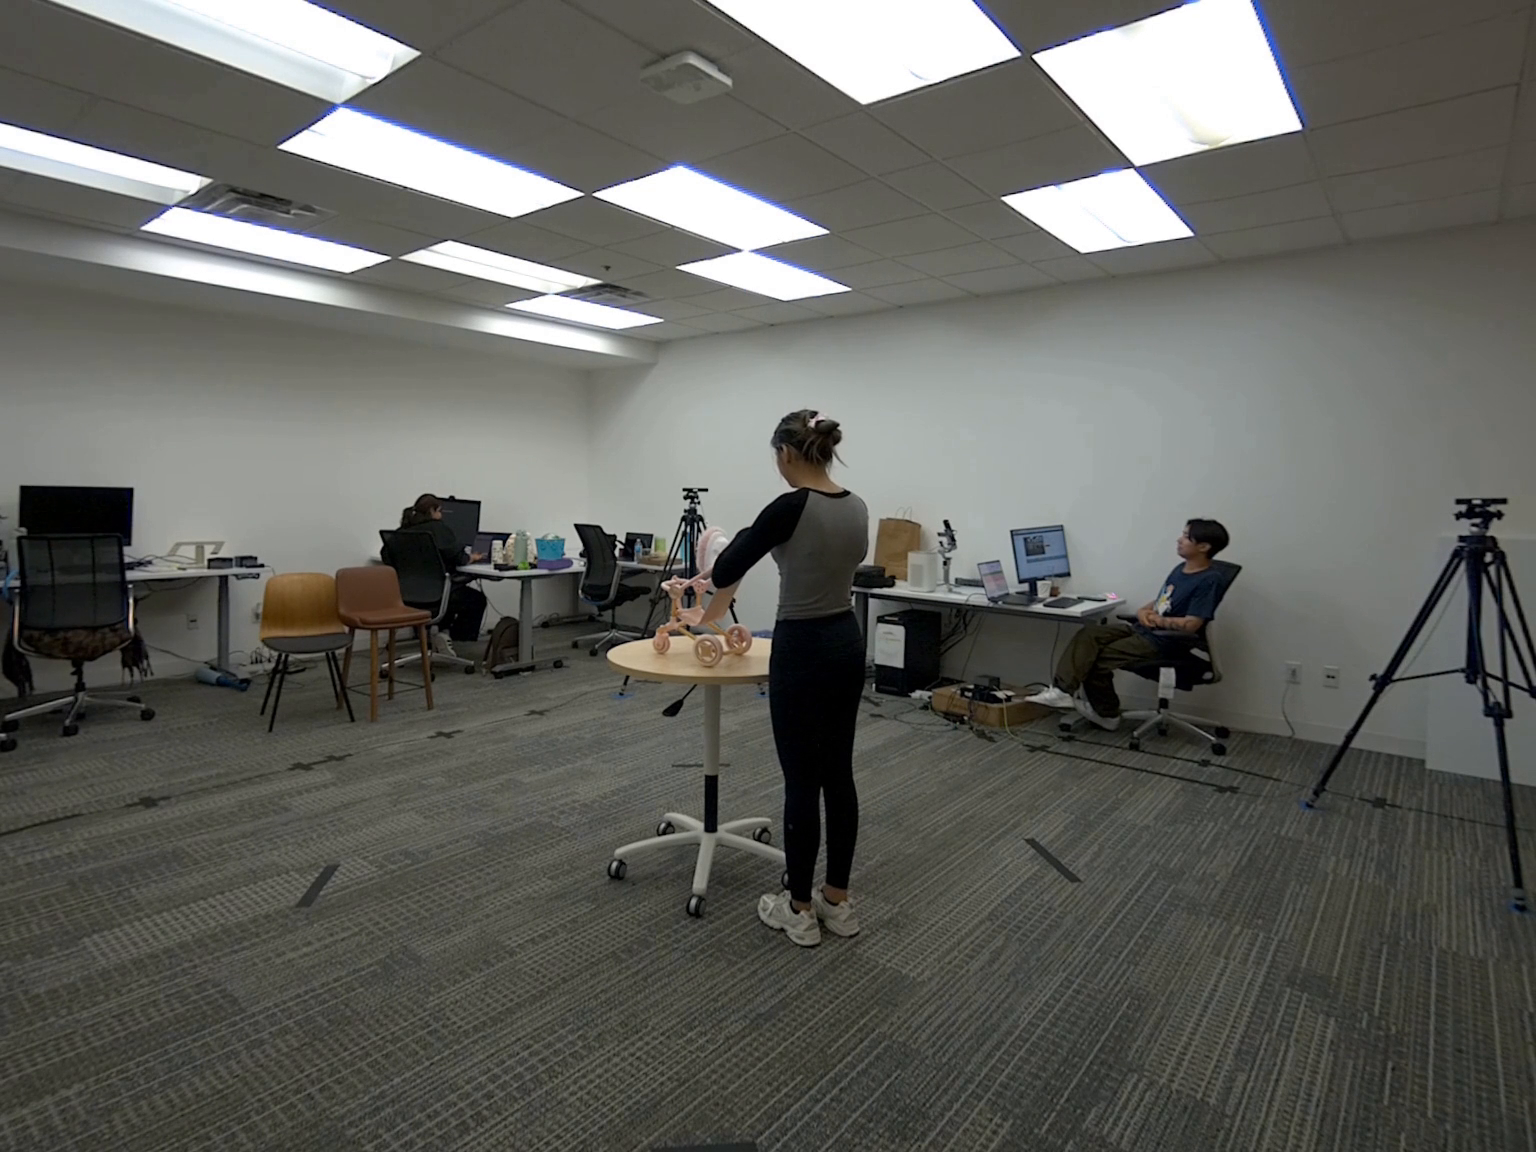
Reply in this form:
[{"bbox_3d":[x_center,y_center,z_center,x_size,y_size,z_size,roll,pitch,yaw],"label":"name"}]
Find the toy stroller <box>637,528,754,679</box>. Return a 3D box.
[{"bbox_3d":[-0.216,0.063,2.977,0.353,0.531,0.274,19,11,28],"label":"toy stroller"}]
